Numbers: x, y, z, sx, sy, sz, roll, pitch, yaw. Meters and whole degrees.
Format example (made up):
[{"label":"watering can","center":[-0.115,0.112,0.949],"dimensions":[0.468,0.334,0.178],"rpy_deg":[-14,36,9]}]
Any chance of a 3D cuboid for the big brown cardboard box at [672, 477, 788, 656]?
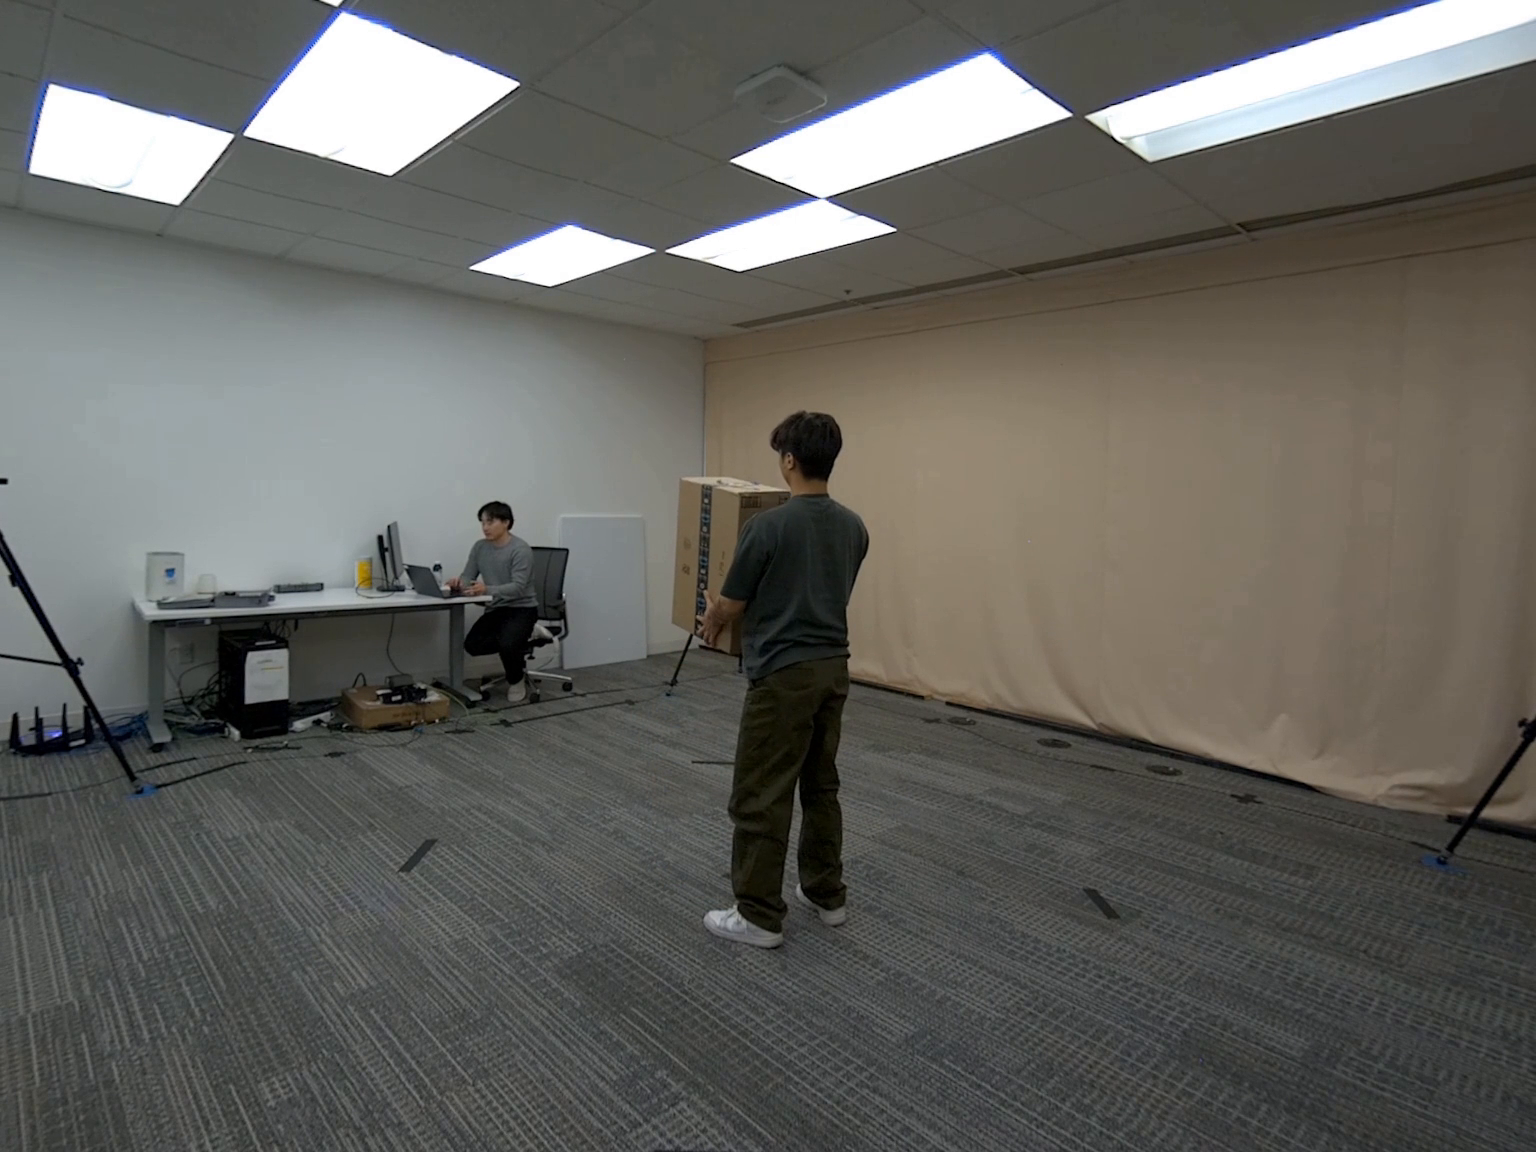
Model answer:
[{"label":"big brown cardboard box","center":[-0.150,-0.057,3.078],"dimensions":[0.228,0.585,0.429],"rpy_deg":[-2,13,-34]}]
